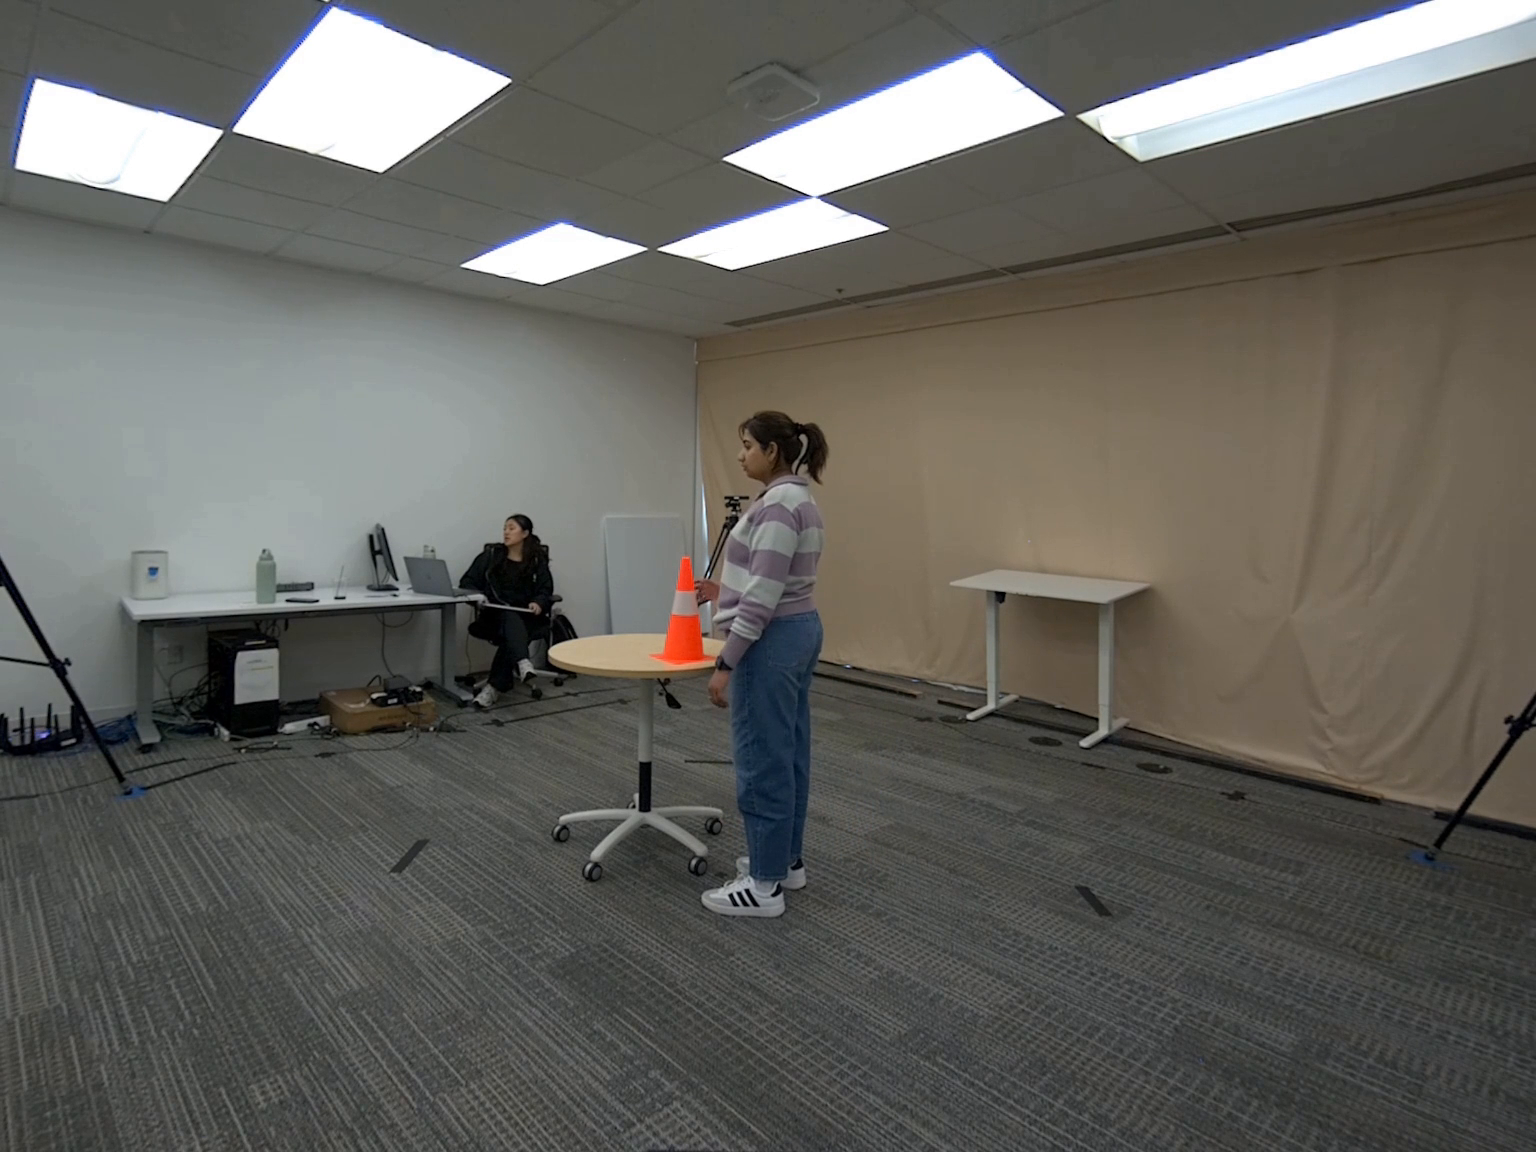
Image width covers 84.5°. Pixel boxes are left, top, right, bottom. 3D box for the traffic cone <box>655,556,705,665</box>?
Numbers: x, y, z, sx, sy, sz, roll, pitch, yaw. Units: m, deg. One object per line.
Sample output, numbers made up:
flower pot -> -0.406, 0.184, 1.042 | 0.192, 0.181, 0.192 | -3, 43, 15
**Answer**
traffic cone -> -0.319, 0.124, 3.171 | 0.210, 0.382, 0.199 | 6, 8, 42
